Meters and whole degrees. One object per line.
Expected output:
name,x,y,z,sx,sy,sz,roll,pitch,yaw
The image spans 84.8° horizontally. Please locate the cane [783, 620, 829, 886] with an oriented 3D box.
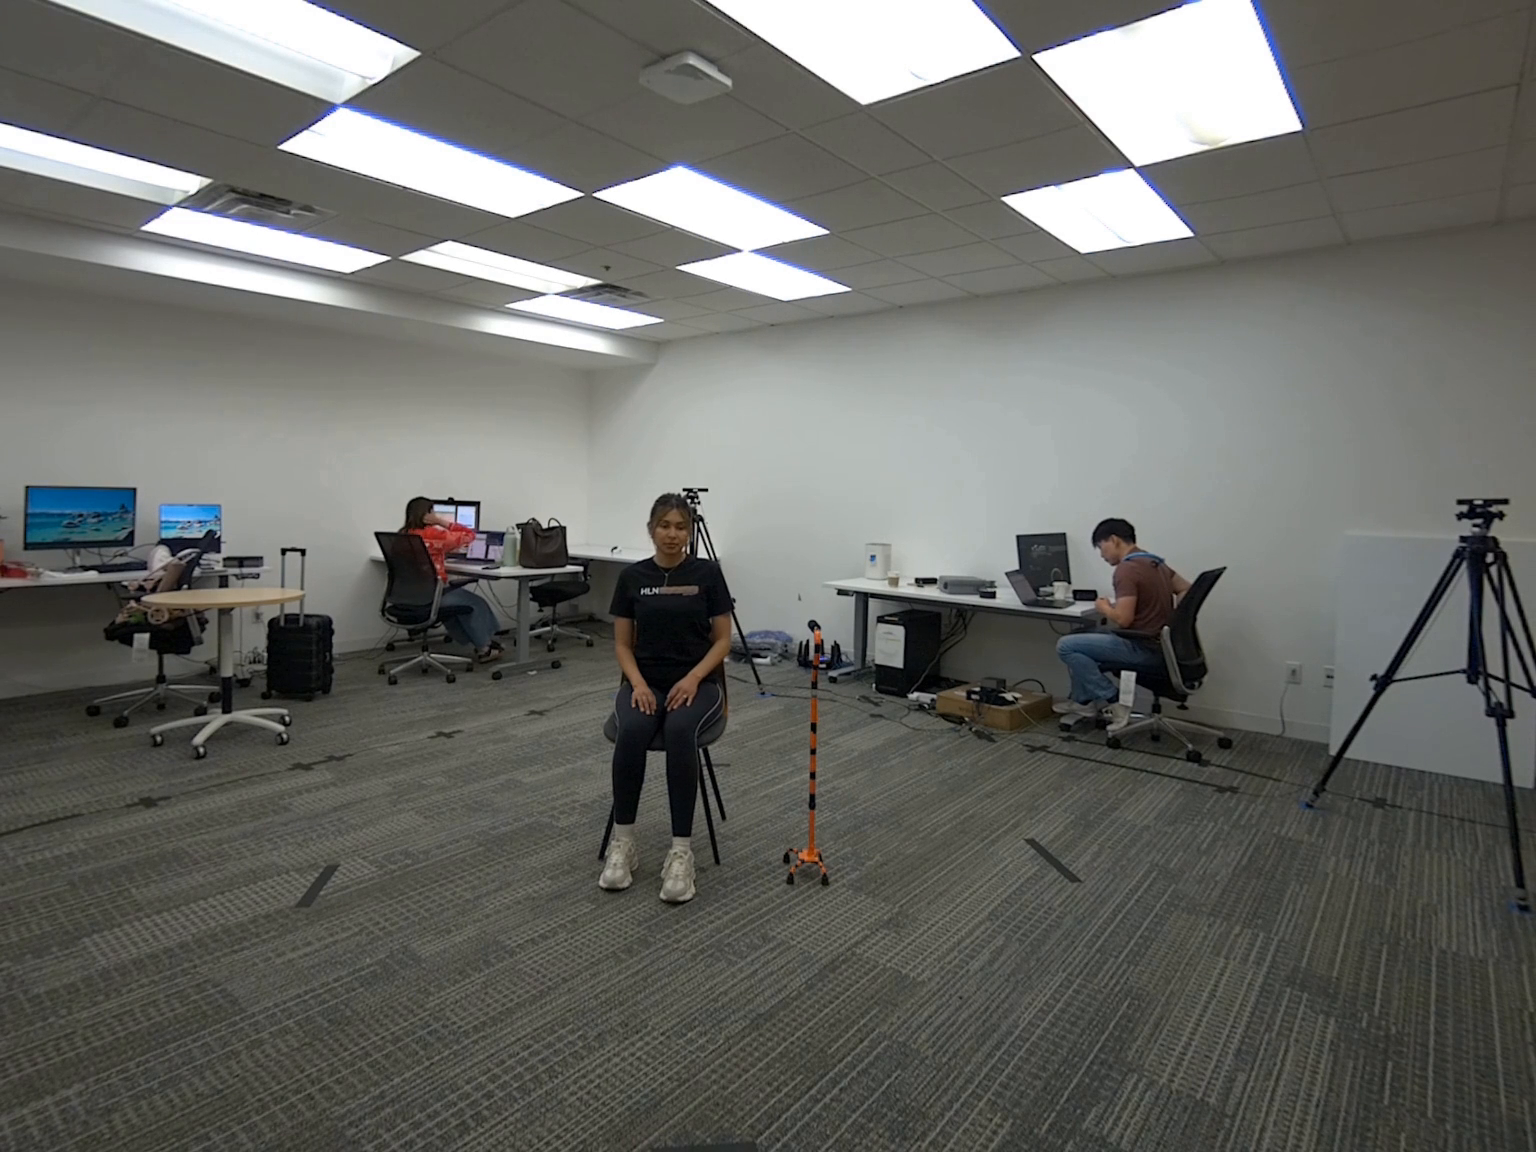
cane,0.144,0.626,3.077,0.151,0.905,0.208,1,3,-4
